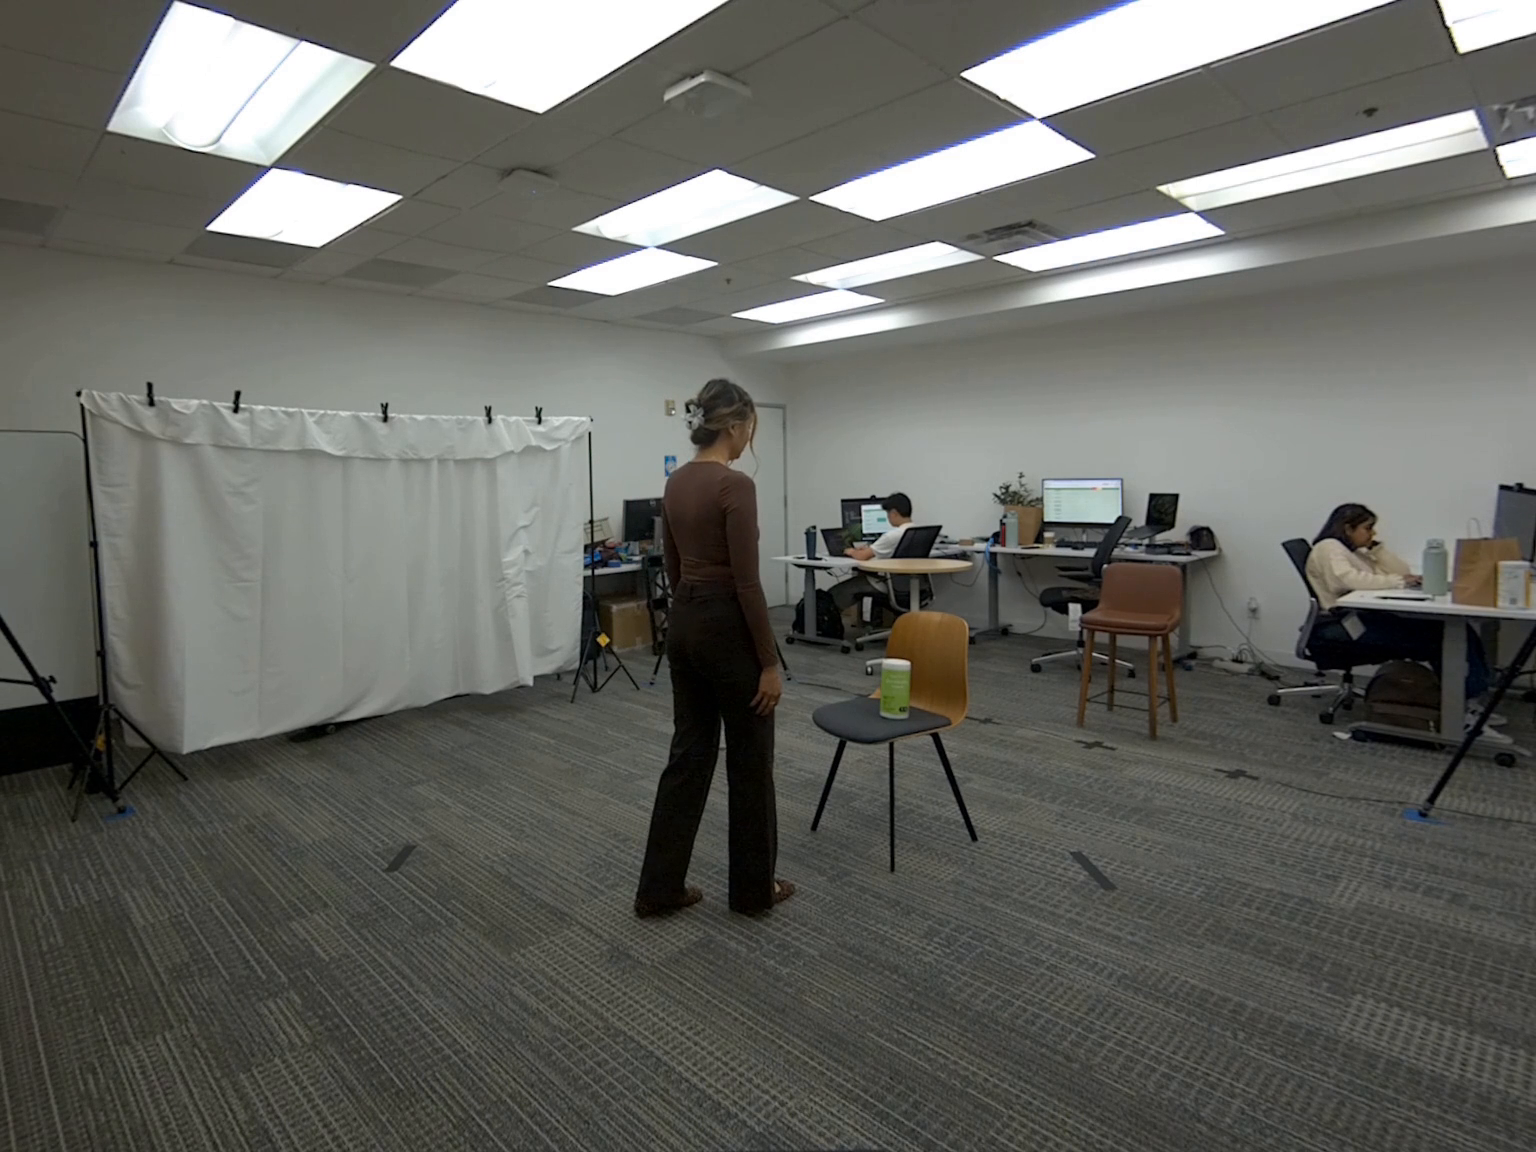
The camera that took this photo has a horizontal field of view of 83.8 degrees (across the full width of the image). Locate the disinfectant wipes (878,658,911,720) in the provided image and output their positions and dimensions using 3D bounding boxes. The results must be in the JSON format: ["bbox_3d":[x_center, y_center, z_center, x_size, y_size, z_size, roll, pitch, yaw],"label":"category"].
[{"bbox_3d":[0.498,0.436,3.298,0.118,0.217,0.118,3,1,-2],"label":"disinfectant wipes"}]
